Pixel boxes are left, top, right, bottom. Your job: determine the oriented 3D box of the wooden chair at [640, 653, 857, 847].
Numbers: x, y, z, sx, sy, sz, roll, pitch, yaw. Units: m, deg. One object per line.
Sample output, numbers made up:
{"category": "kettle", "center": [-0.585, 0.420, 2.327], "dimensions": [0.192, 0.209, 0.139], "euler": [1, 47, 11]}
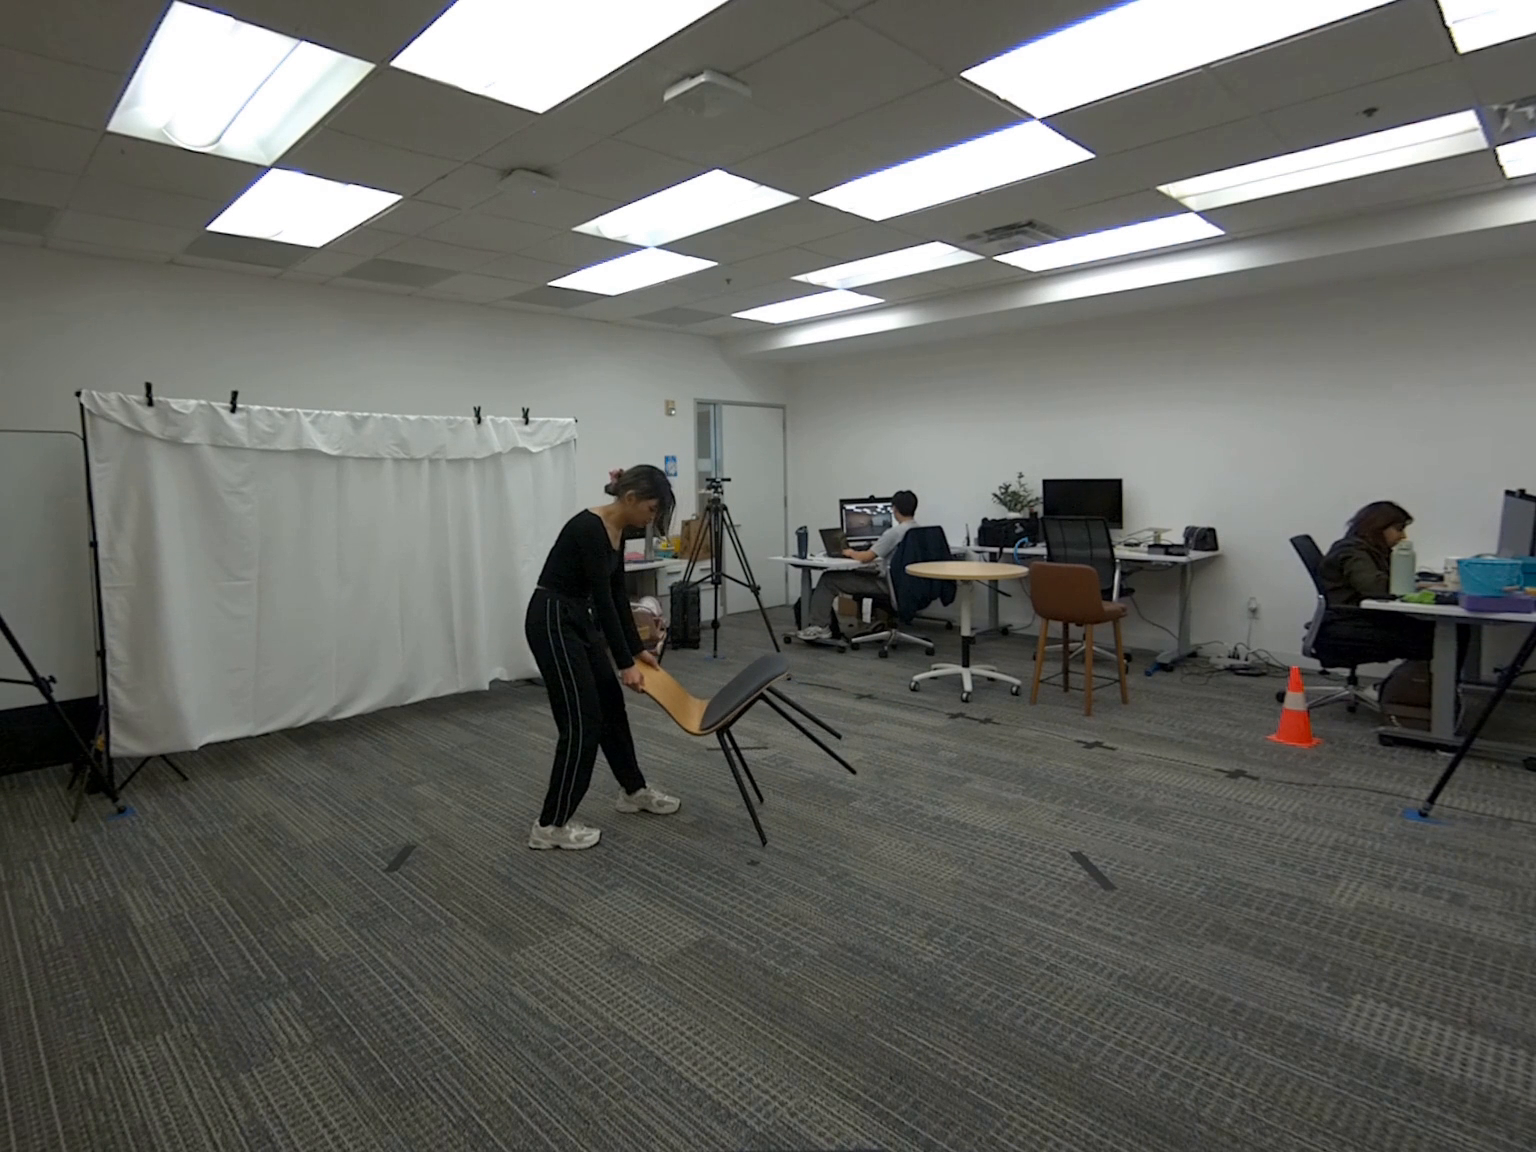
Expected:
{"category": "wooden chair", "center": [-0.111, 0.521, 3.430], "dimensions": [0.523, 0.875, 0.479], "euler": [-44, 2, 4]}
